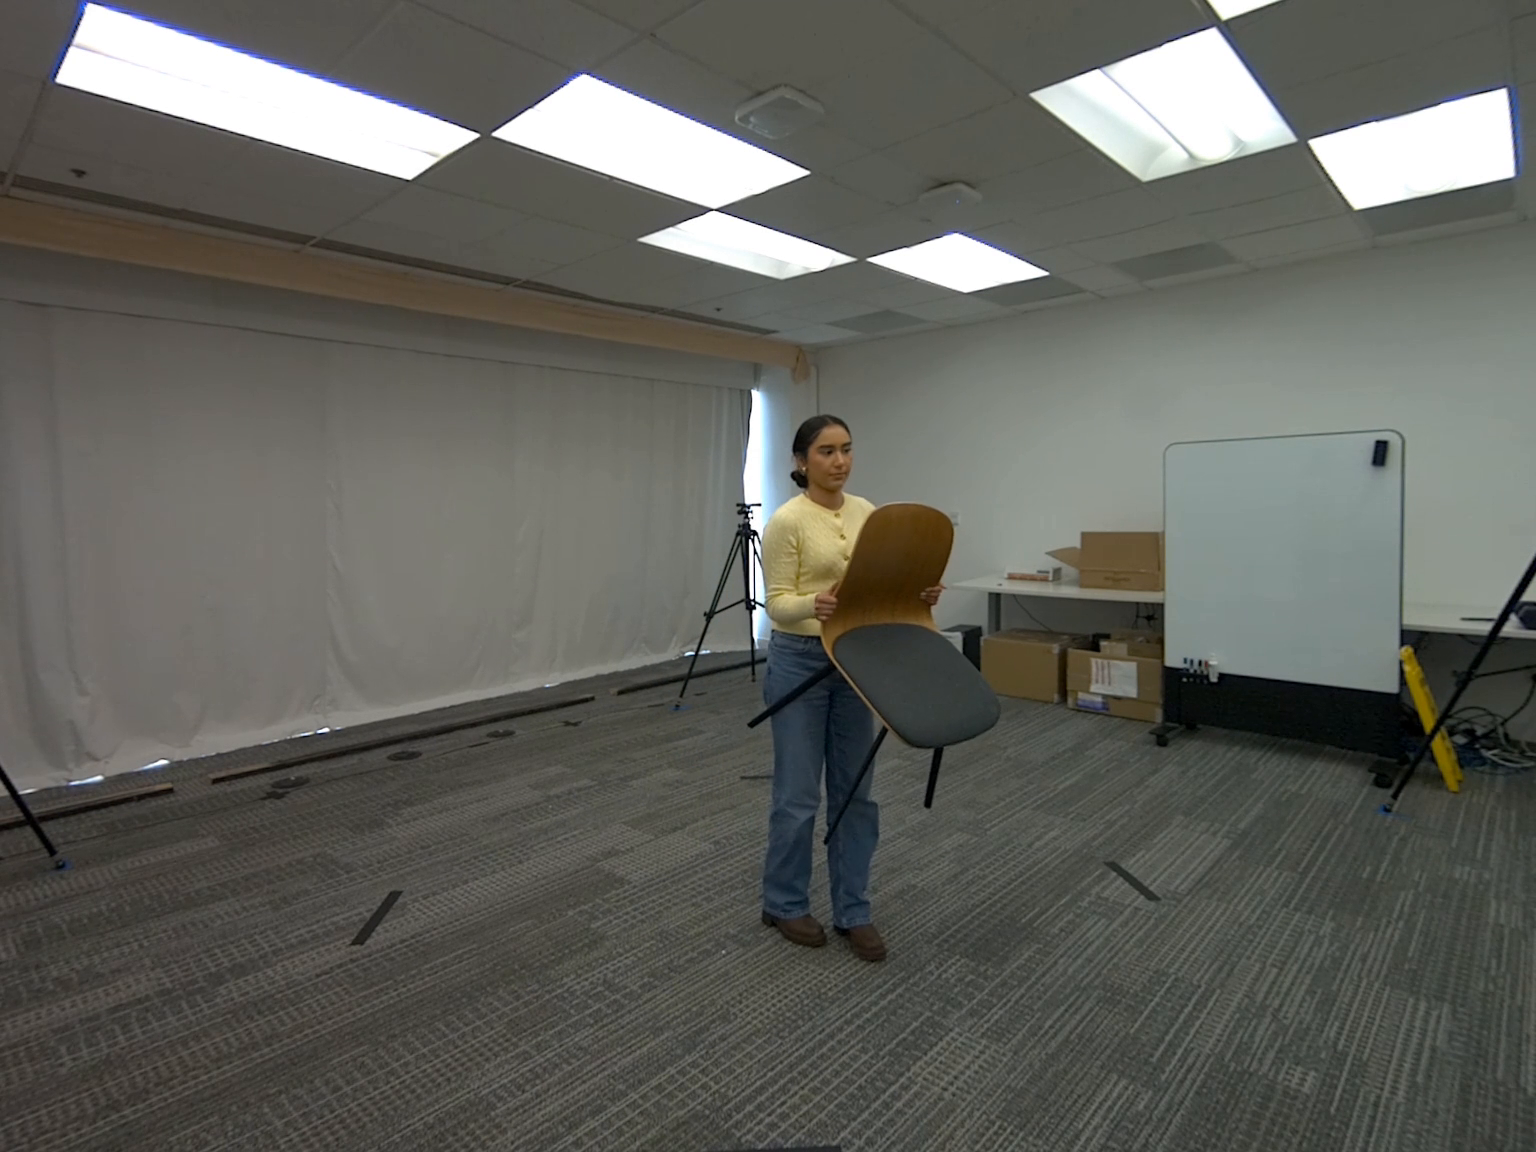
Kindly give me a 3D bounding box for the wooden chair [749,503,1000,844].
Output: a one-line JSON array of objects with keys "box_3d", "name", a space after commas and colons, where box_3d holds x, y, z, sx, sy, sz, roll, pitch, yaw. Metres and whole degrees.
[{"box_3d": [0.386, 0.295, 2.450, 0.464, 0.873, 0.541, -4, 38, -38], "name": "wooden chair"}]
